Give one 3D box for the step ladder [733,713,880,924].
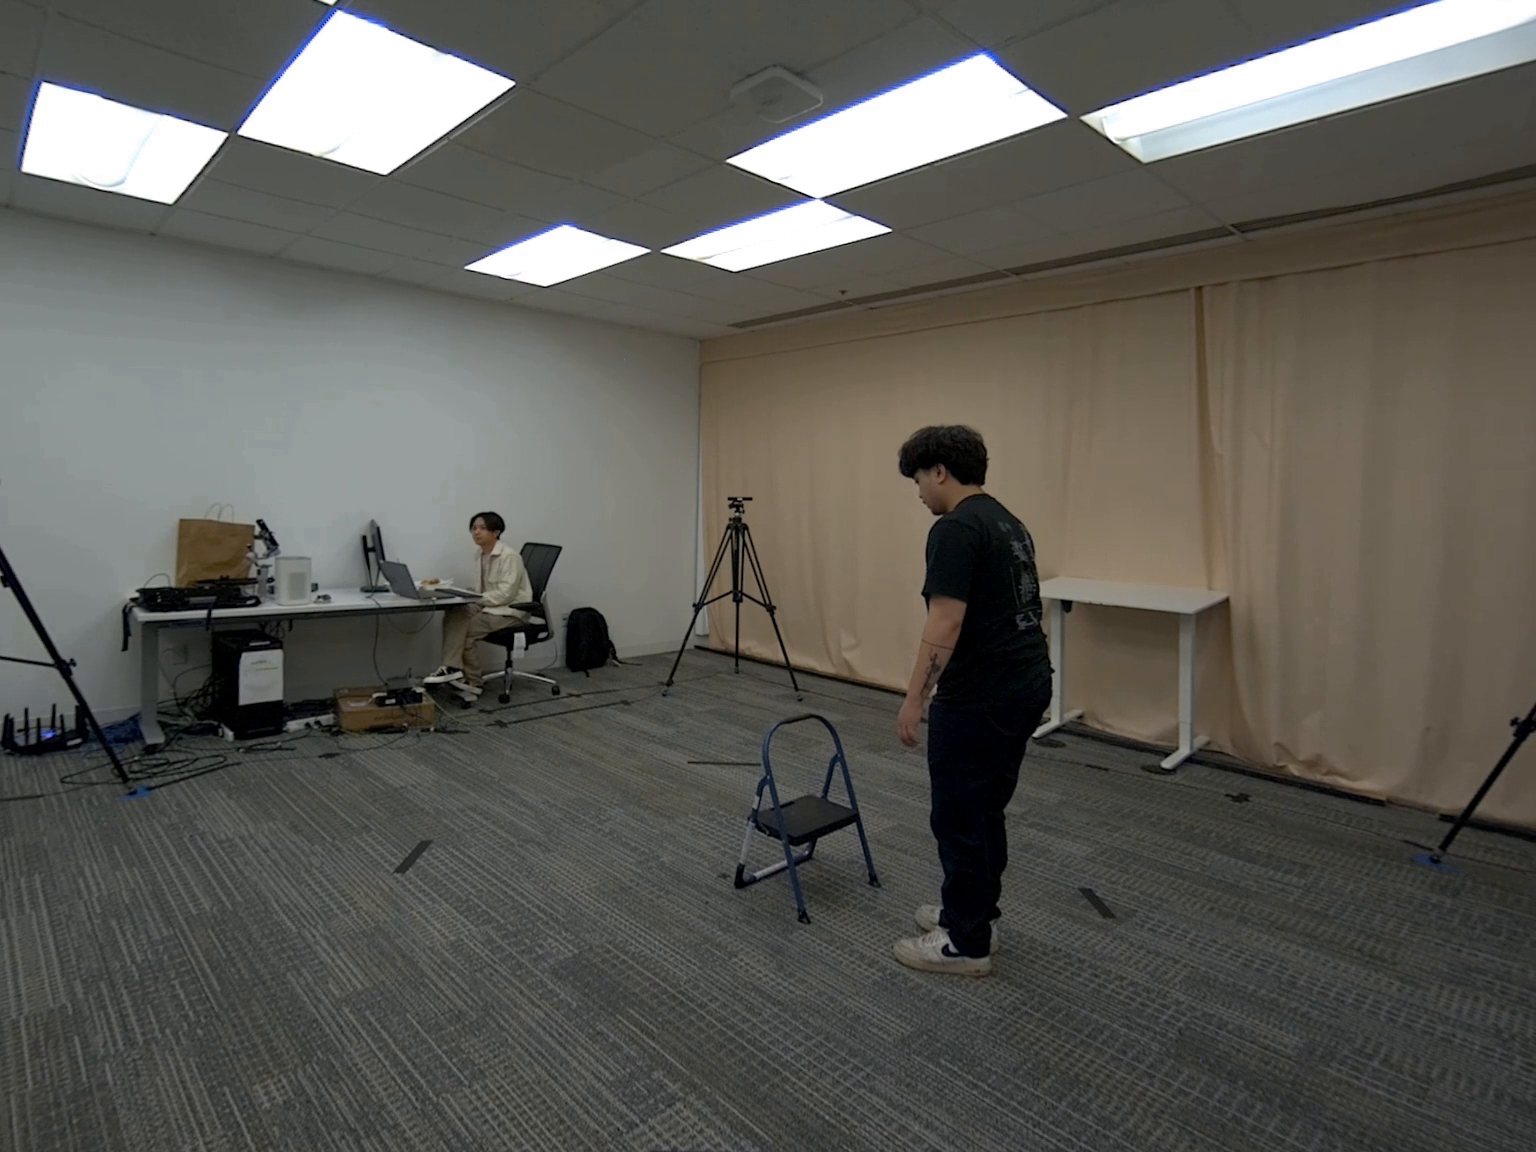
[{"bbox_3d":[0.145,0.818,3.018,0.358,0.604,0.421,5,5,44],"label":"step ladder"}]
